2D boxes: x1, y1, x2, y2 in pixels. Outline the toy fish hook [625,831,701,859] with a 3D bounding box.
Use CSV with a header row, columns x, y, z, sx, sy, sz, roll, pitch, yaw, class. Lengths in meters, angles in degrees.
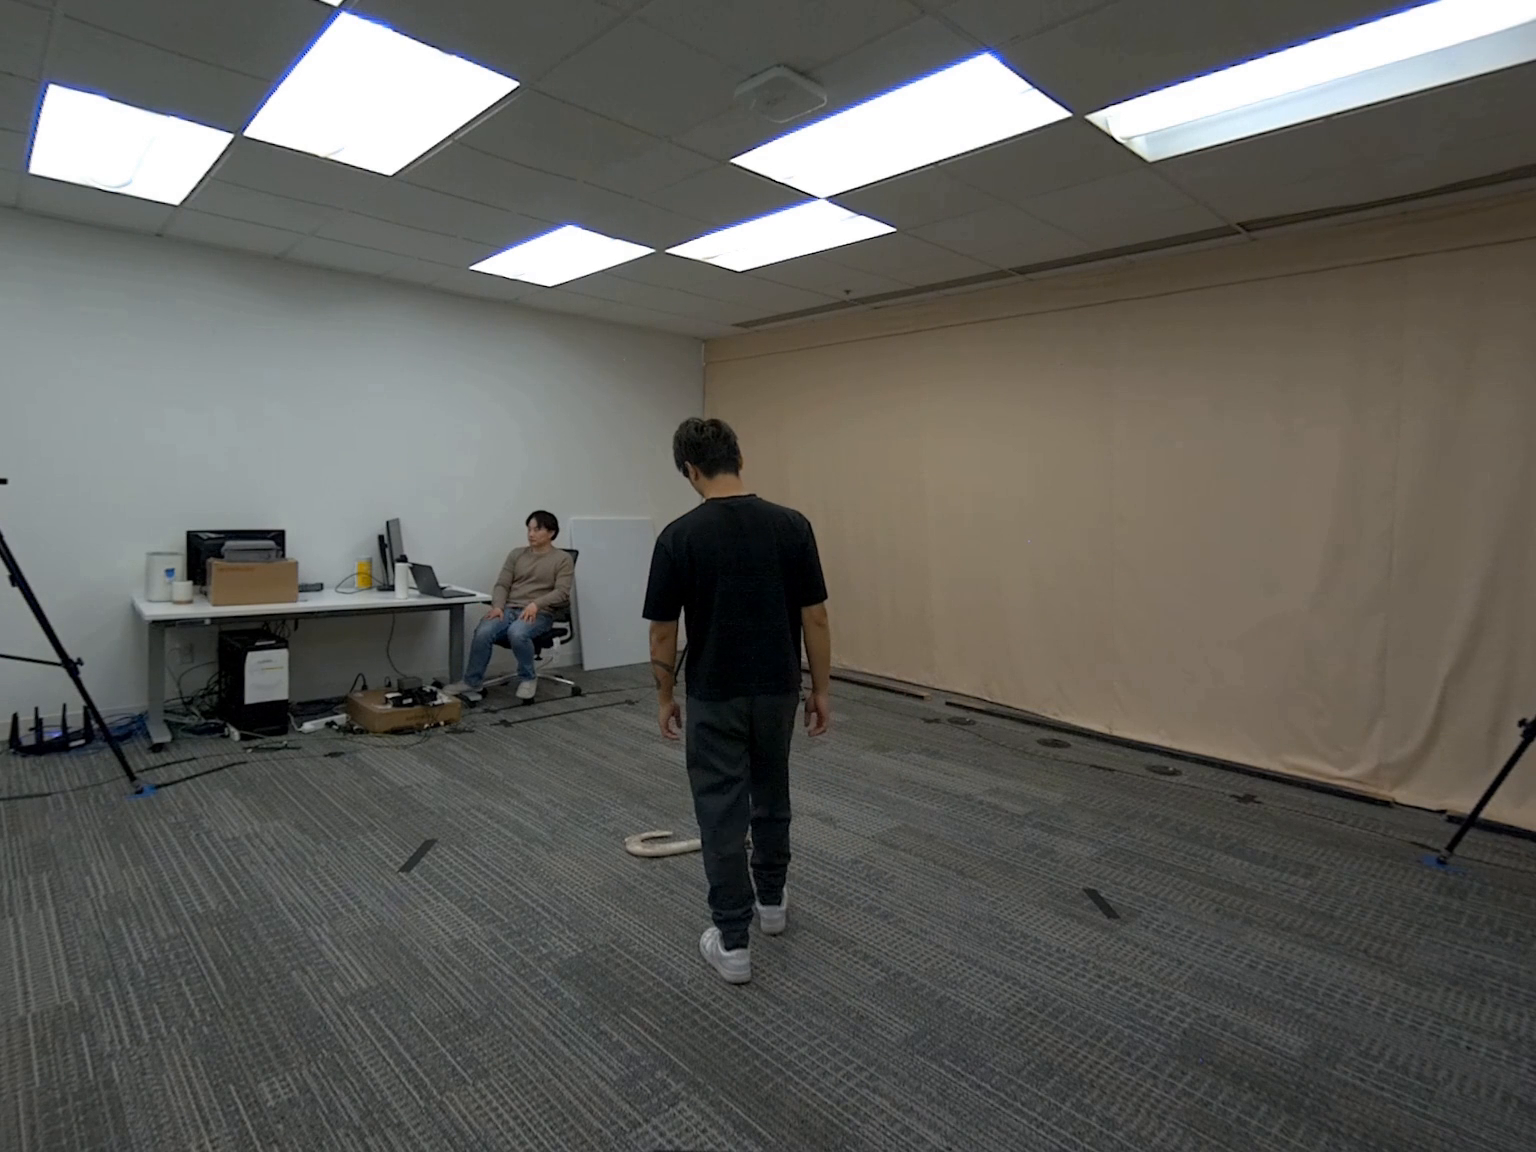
x,y,z,sx,sy,sz,roll,pitch,yaw,class
-0.321,1.054,3.369,0.502,0.048,0.227,1,7,-10,toy fish hook
